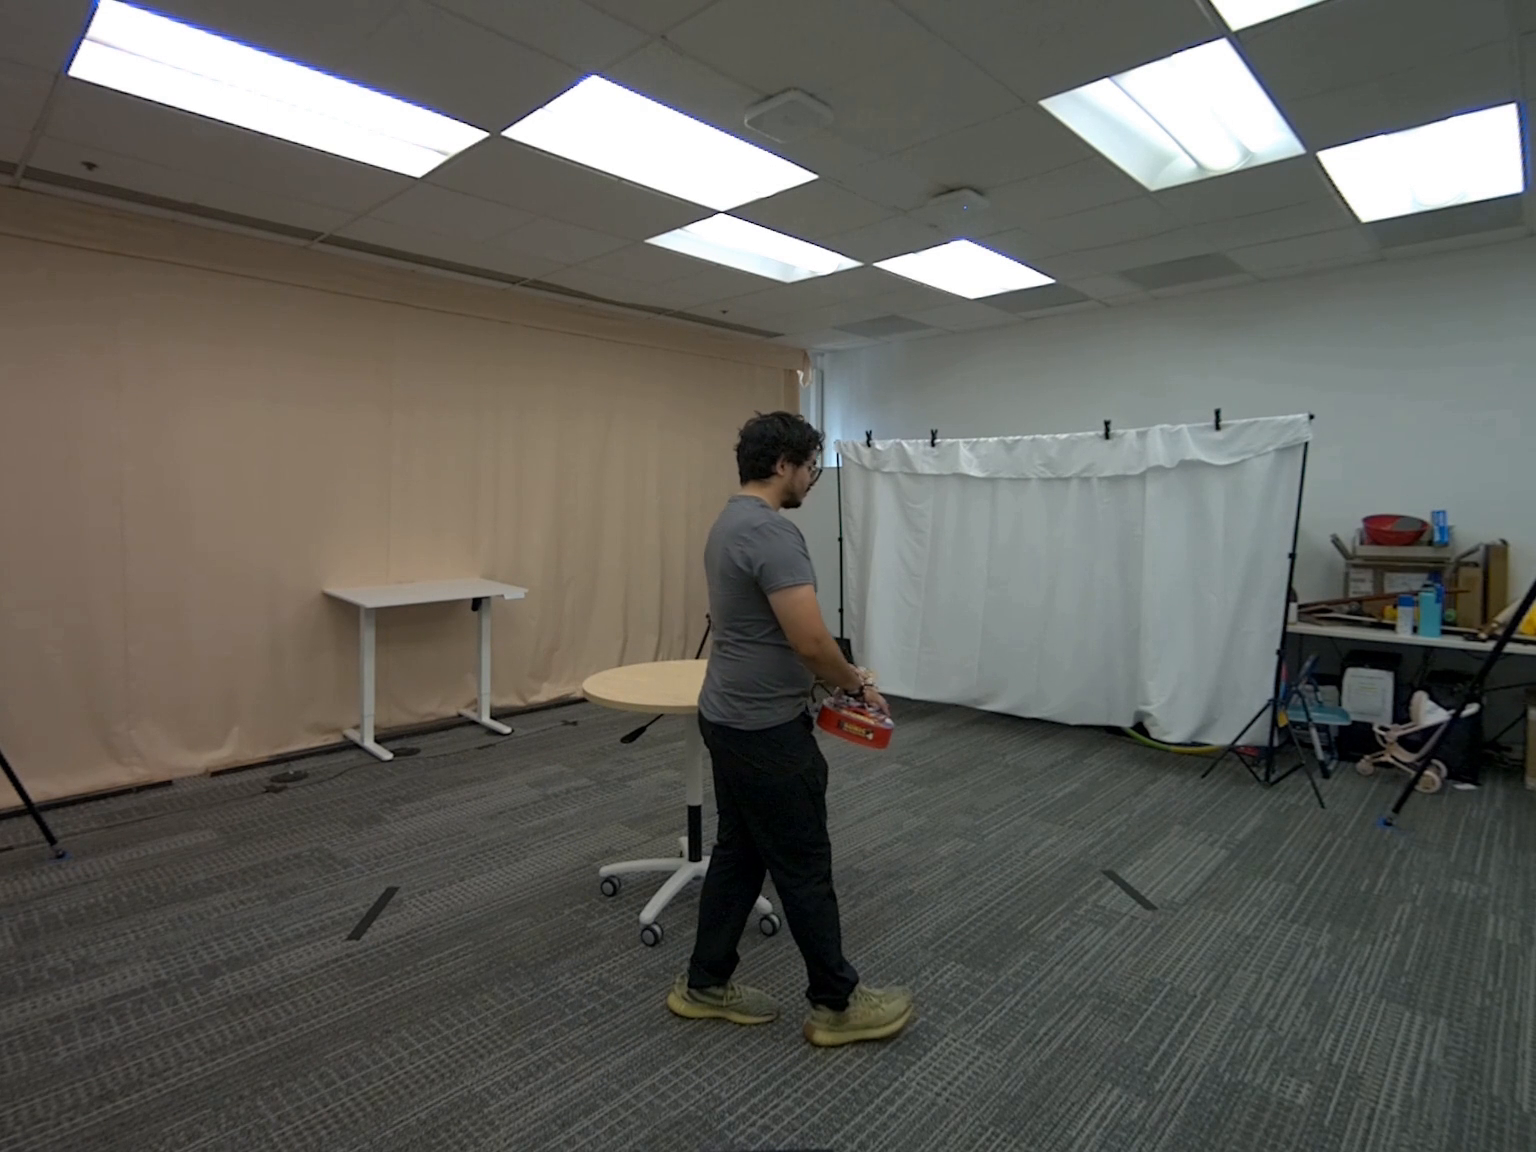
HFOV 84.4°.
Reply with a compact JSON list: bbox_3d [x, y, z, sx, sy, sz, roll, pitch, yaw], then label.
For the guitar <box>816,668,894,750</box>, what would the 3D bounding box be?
[{"bbox_3d":[0.291,0.353,2.353,0.197,0.070,0.489,19,13,17],"label":"guitar"}]
